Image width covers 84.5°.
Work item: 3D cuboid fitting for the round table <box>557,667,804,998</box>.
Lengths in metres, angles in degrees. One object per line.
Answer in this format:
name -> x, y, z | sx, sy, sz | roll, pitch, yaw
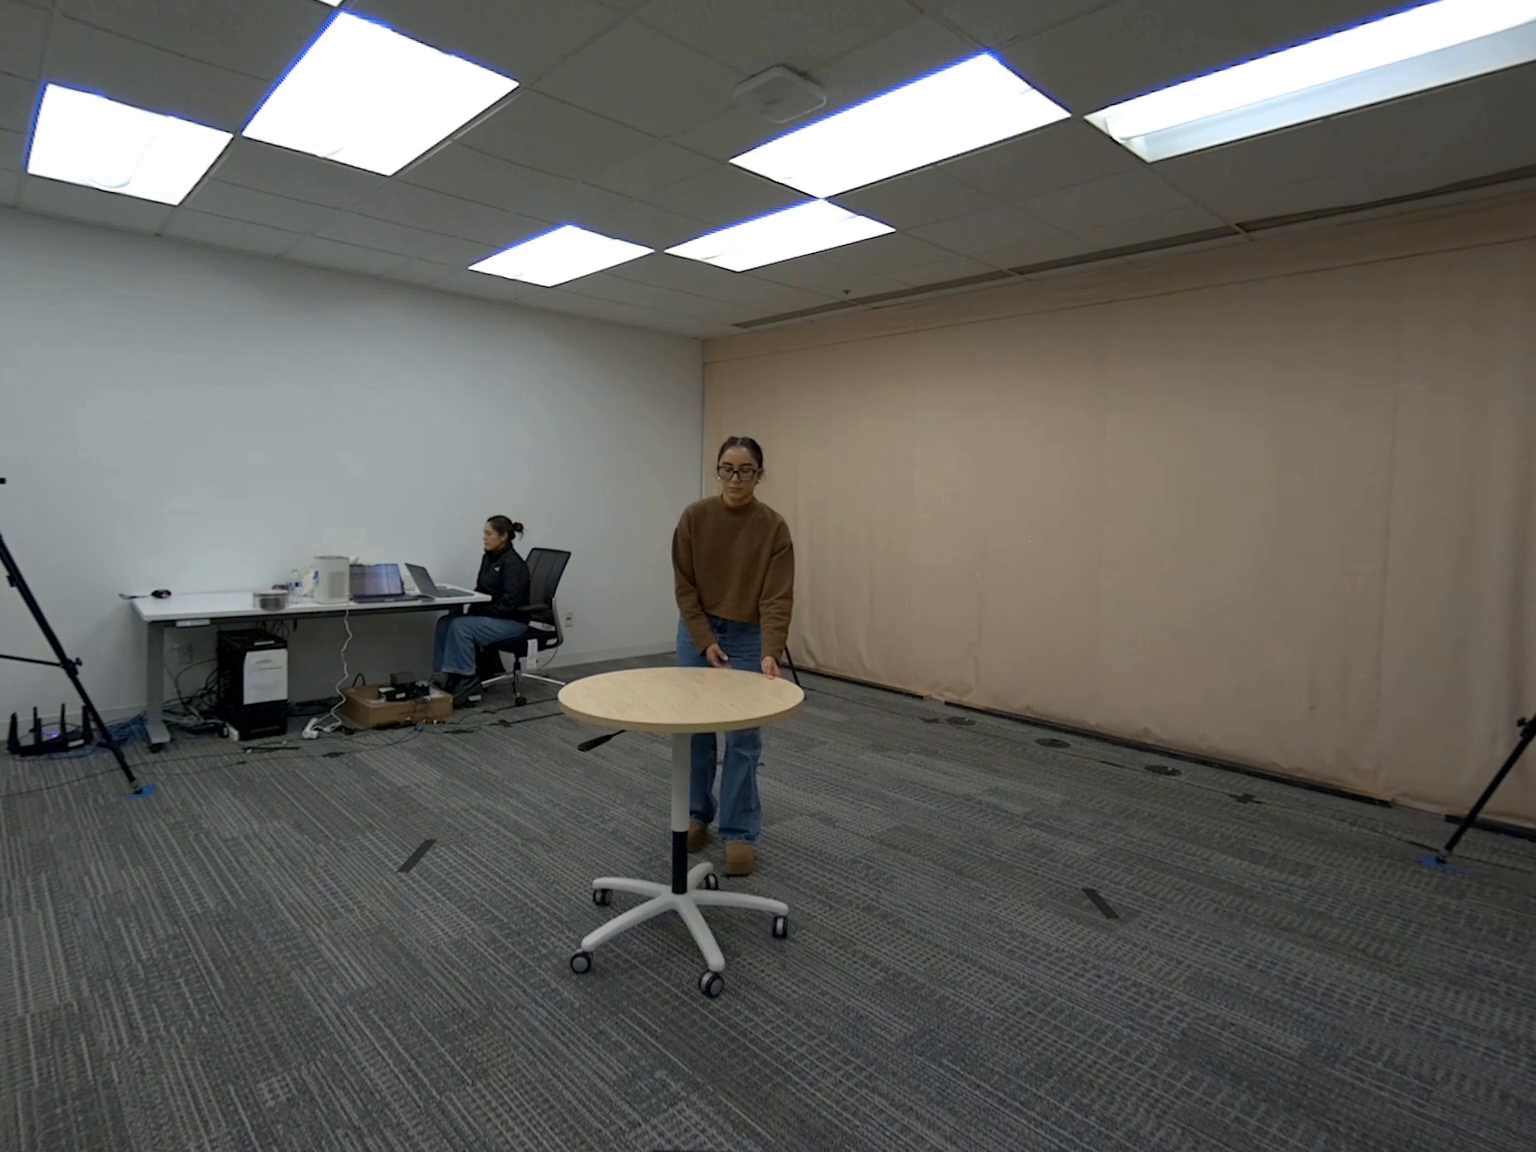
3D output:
round table -> -0.299, 0.755, 2.650 | 0.784, 0.785, 0.787 | 1, 3, -1
